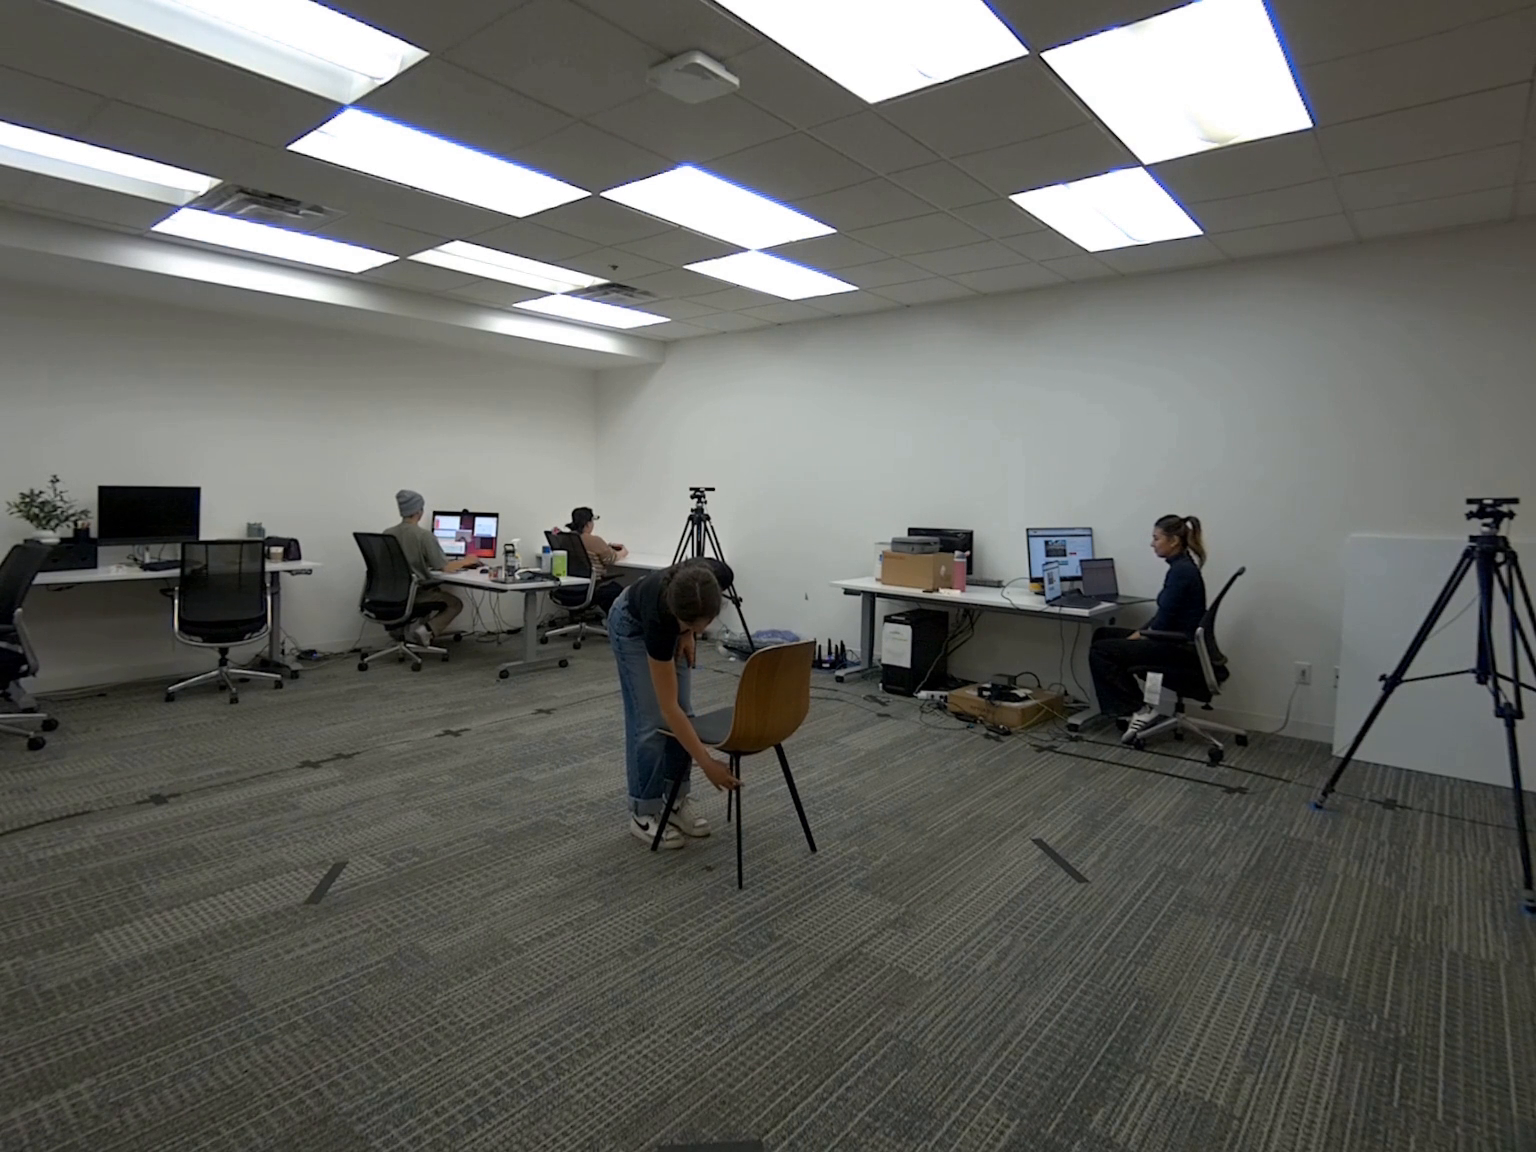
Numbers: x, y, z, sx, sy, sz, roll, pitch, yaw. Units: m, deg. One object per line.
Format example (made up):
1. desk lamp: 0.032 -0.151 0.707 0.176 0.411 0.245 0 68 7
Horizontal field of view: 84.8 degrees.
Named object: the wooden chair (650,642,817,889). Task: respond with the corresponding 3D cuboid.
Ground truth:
1. wooden chair: -0.130 0.629 3.239 0.542 0.873 0.464 9 8 40
